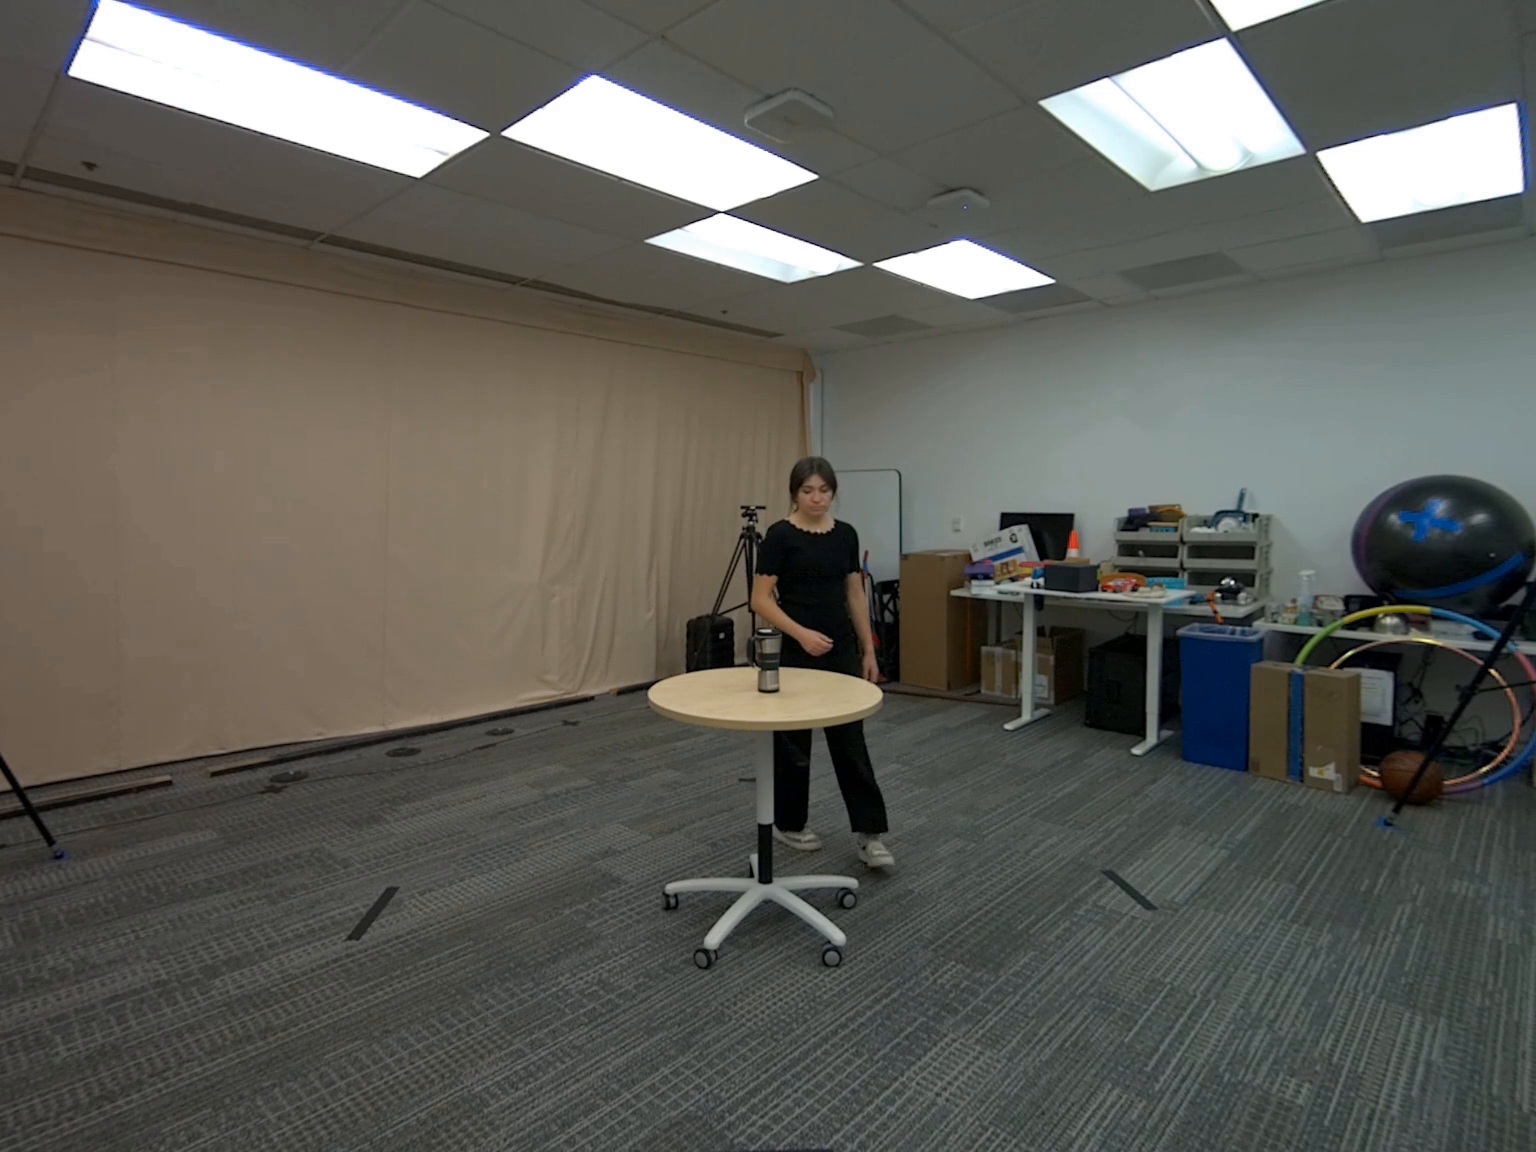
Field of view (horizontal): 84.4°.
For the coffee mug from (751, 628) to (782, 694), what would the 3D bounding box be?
[{"bbox_3d":[-0.016,0.277,2.767,0.124,0.202,0.086,3,8,19],"label":"coffee mug"}]
